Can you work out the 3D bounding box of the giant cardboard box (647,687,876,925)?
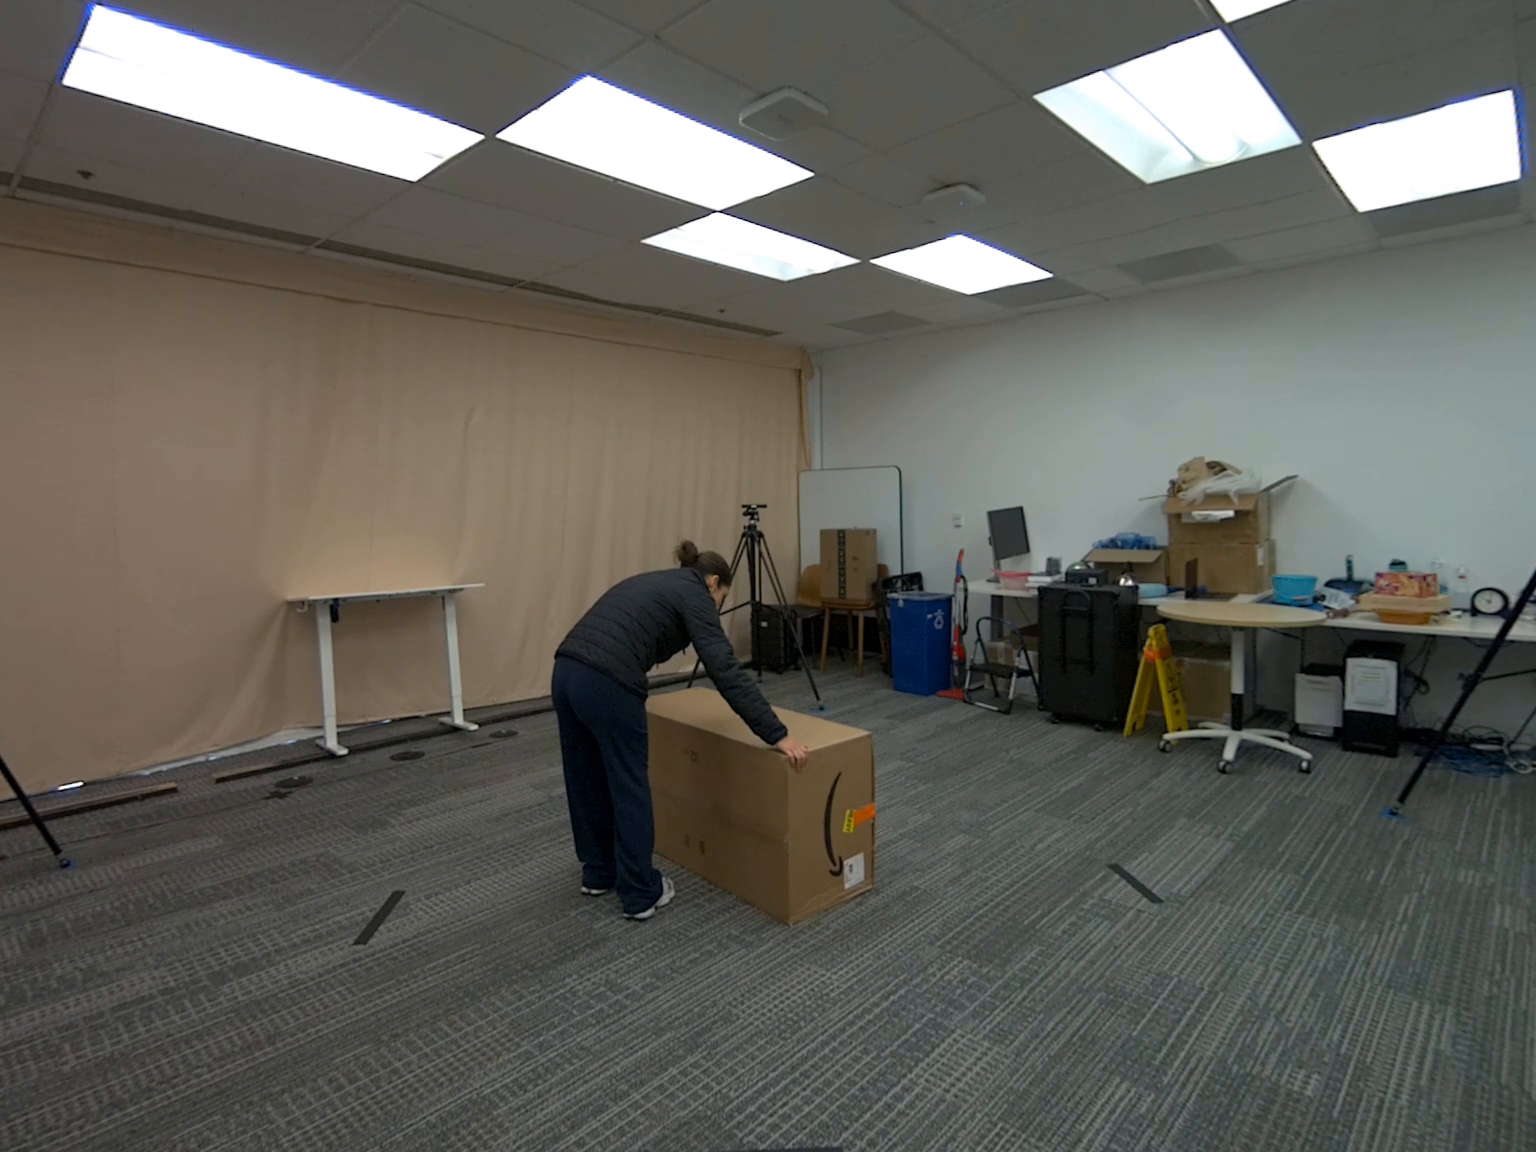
[{"bbox_3d":[-0.103,0.829,3.291,0.433,0.582,1.061,-3,5,-41],"label":"giant cardboard box"}]
